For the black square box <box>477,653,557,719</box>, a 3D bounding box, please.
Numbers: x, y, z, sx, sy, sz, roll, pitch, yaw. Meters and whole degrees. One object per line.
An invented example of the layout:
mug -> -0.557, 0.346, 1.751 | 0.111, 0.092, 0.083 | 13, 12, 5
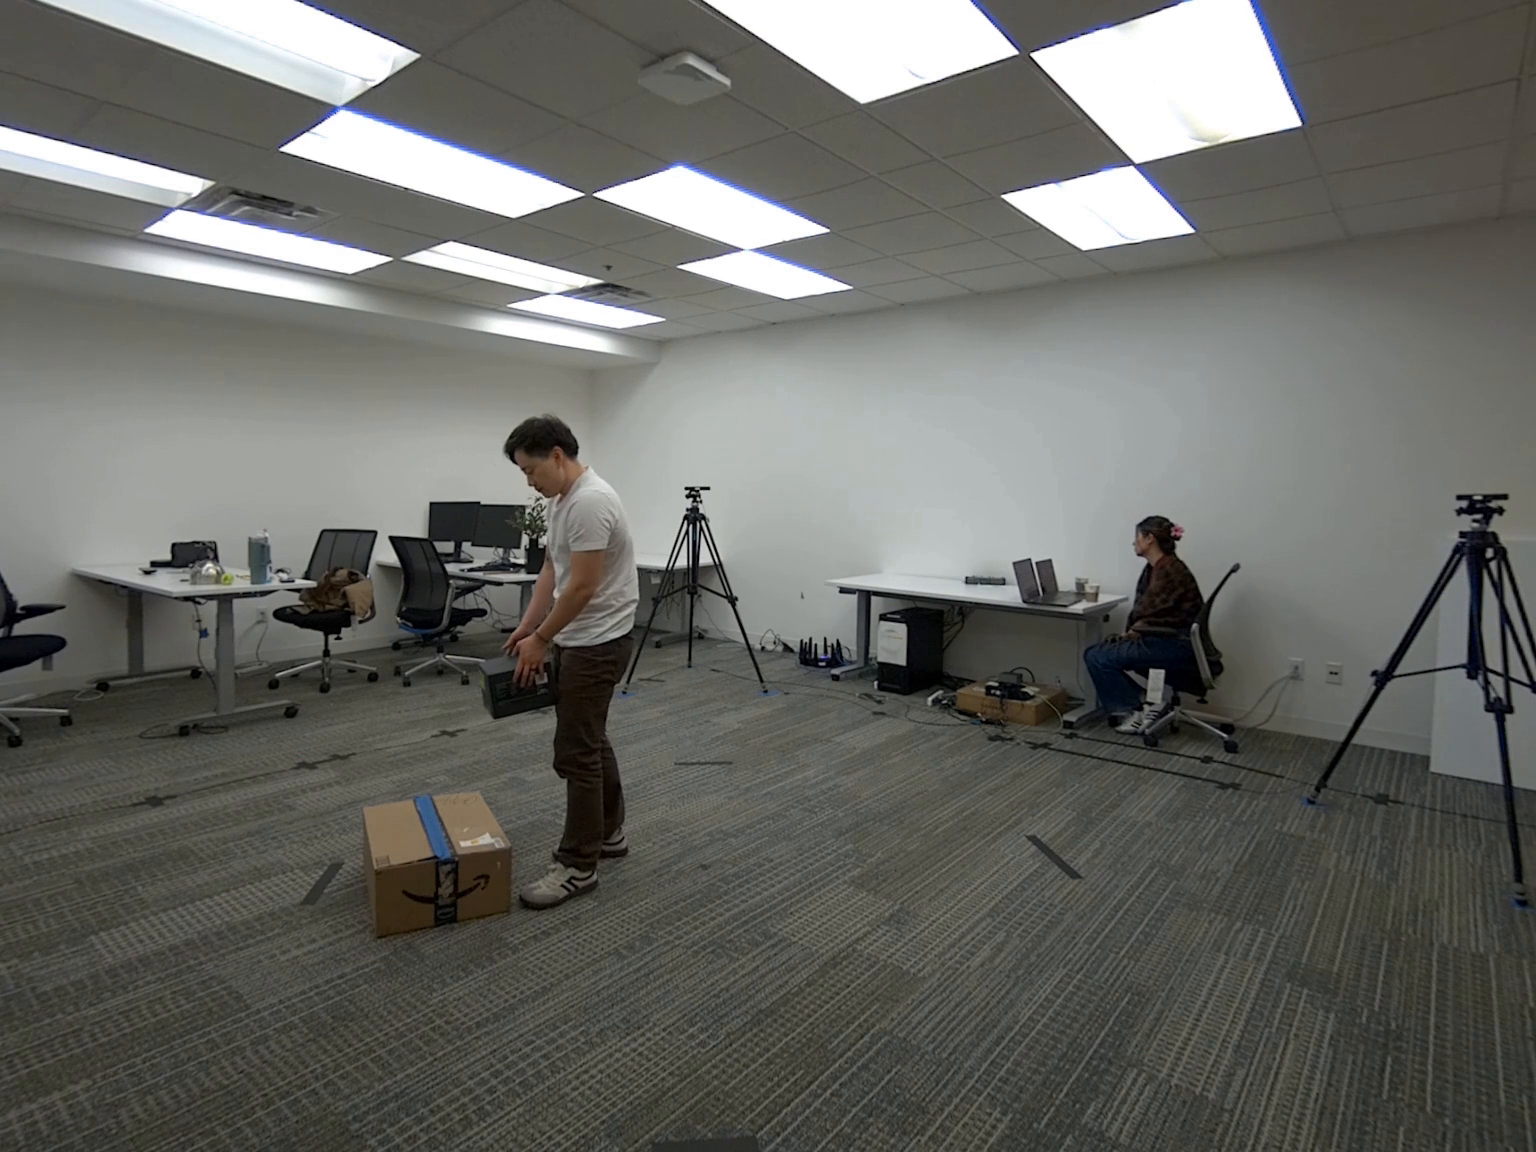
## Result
black square box -> -0.881, 0.367, 2.955 | 0.213, 0.154, 0.234 | -12, 10, -25
